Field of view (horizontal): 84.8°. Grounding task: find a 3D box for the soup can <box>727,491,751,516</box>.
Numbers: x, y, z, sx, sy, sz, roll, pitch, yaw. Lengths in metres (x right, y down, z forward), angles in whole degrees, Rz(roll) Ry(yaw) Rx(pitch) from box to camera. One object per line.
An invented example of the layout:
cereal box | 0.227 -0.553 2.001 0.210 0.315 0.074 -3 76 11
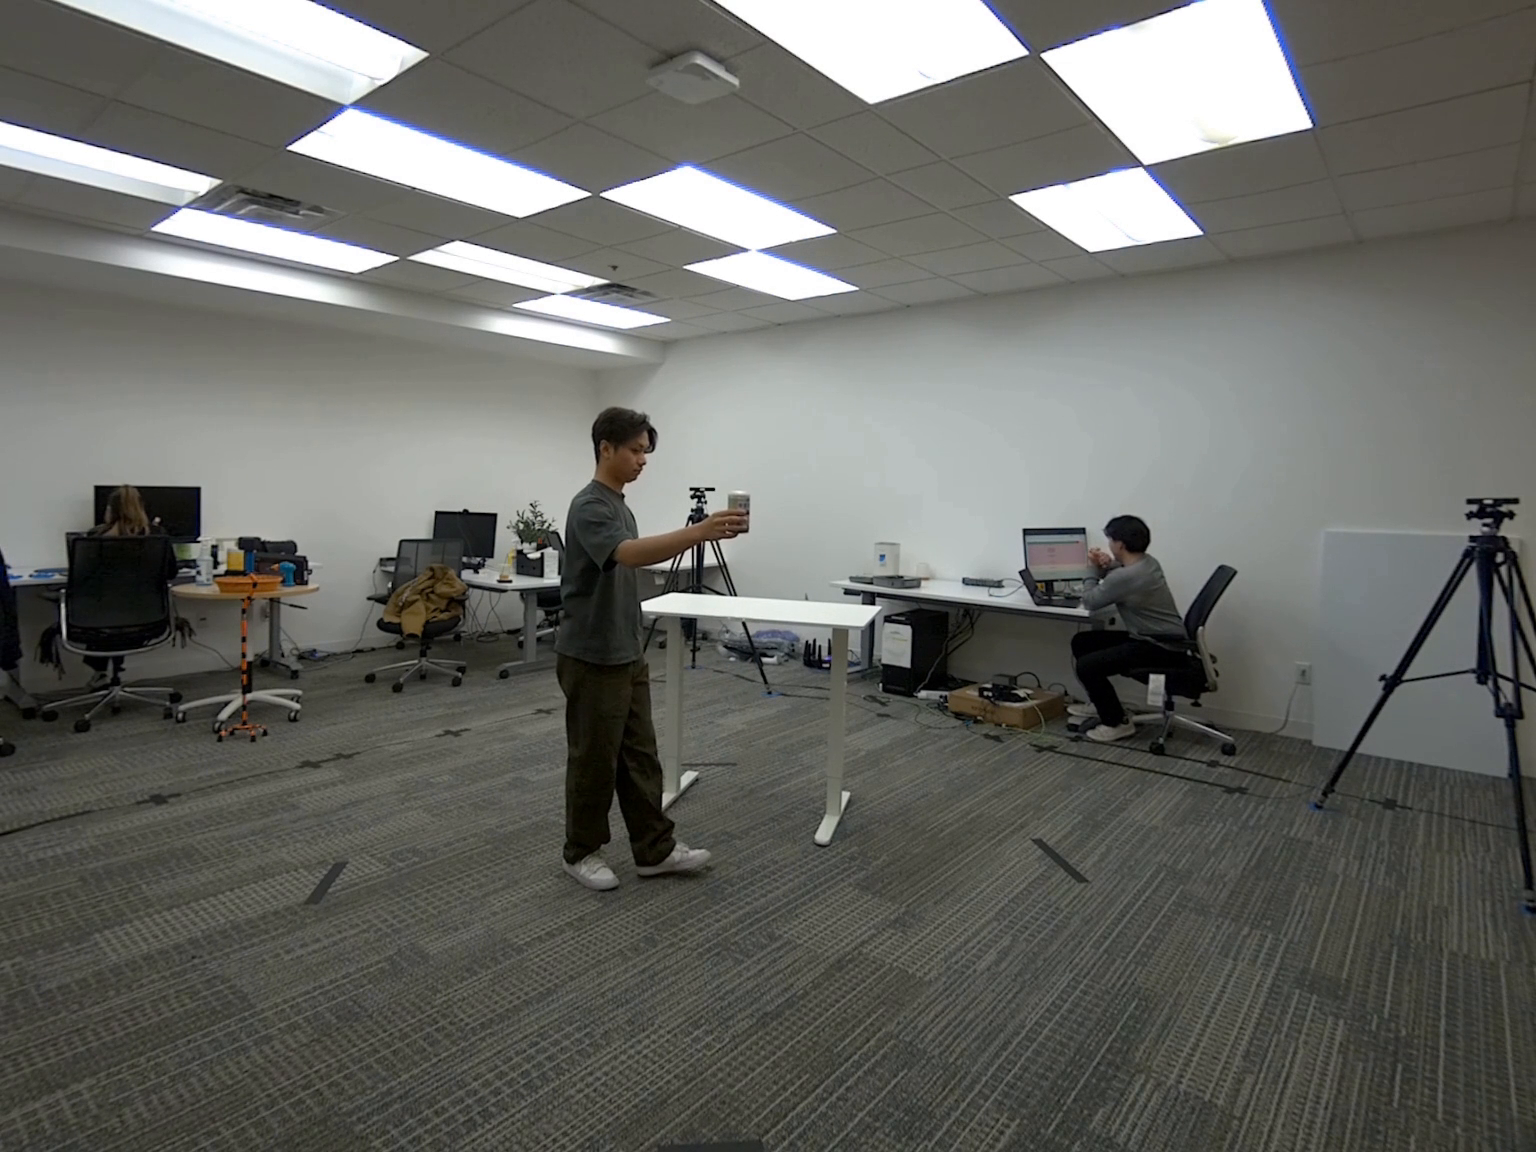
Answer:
soup can | -0.094 -0.191 2.517 0.067 0.121 0.067 2 6 -2
